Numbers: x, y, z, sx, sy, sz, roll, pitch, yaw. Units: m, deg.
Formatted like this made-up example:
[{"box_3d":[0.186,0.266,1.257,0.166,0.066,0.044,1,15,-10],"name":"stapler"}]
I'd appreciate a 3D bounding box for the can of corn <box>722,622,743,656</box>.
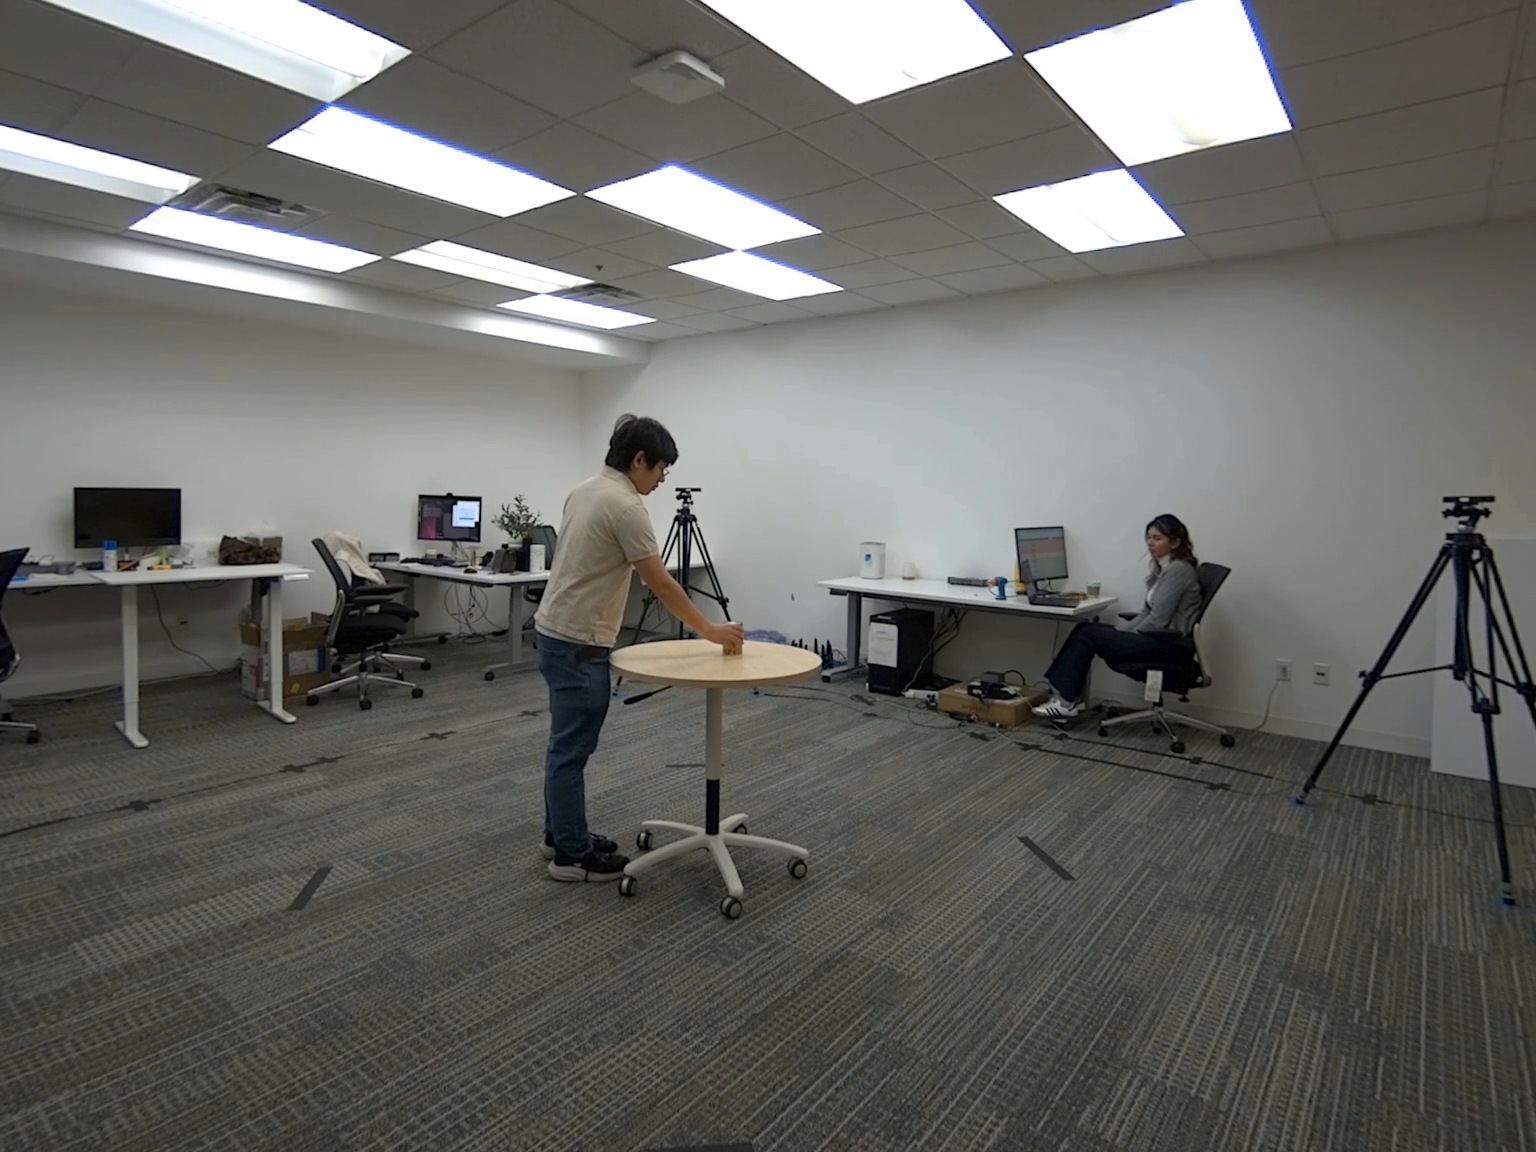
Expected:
[{"box_3d":[-0.145,0.231,3.143,0.074,0.110,0.075,2,7,-2],"name":"can of corn"}]
